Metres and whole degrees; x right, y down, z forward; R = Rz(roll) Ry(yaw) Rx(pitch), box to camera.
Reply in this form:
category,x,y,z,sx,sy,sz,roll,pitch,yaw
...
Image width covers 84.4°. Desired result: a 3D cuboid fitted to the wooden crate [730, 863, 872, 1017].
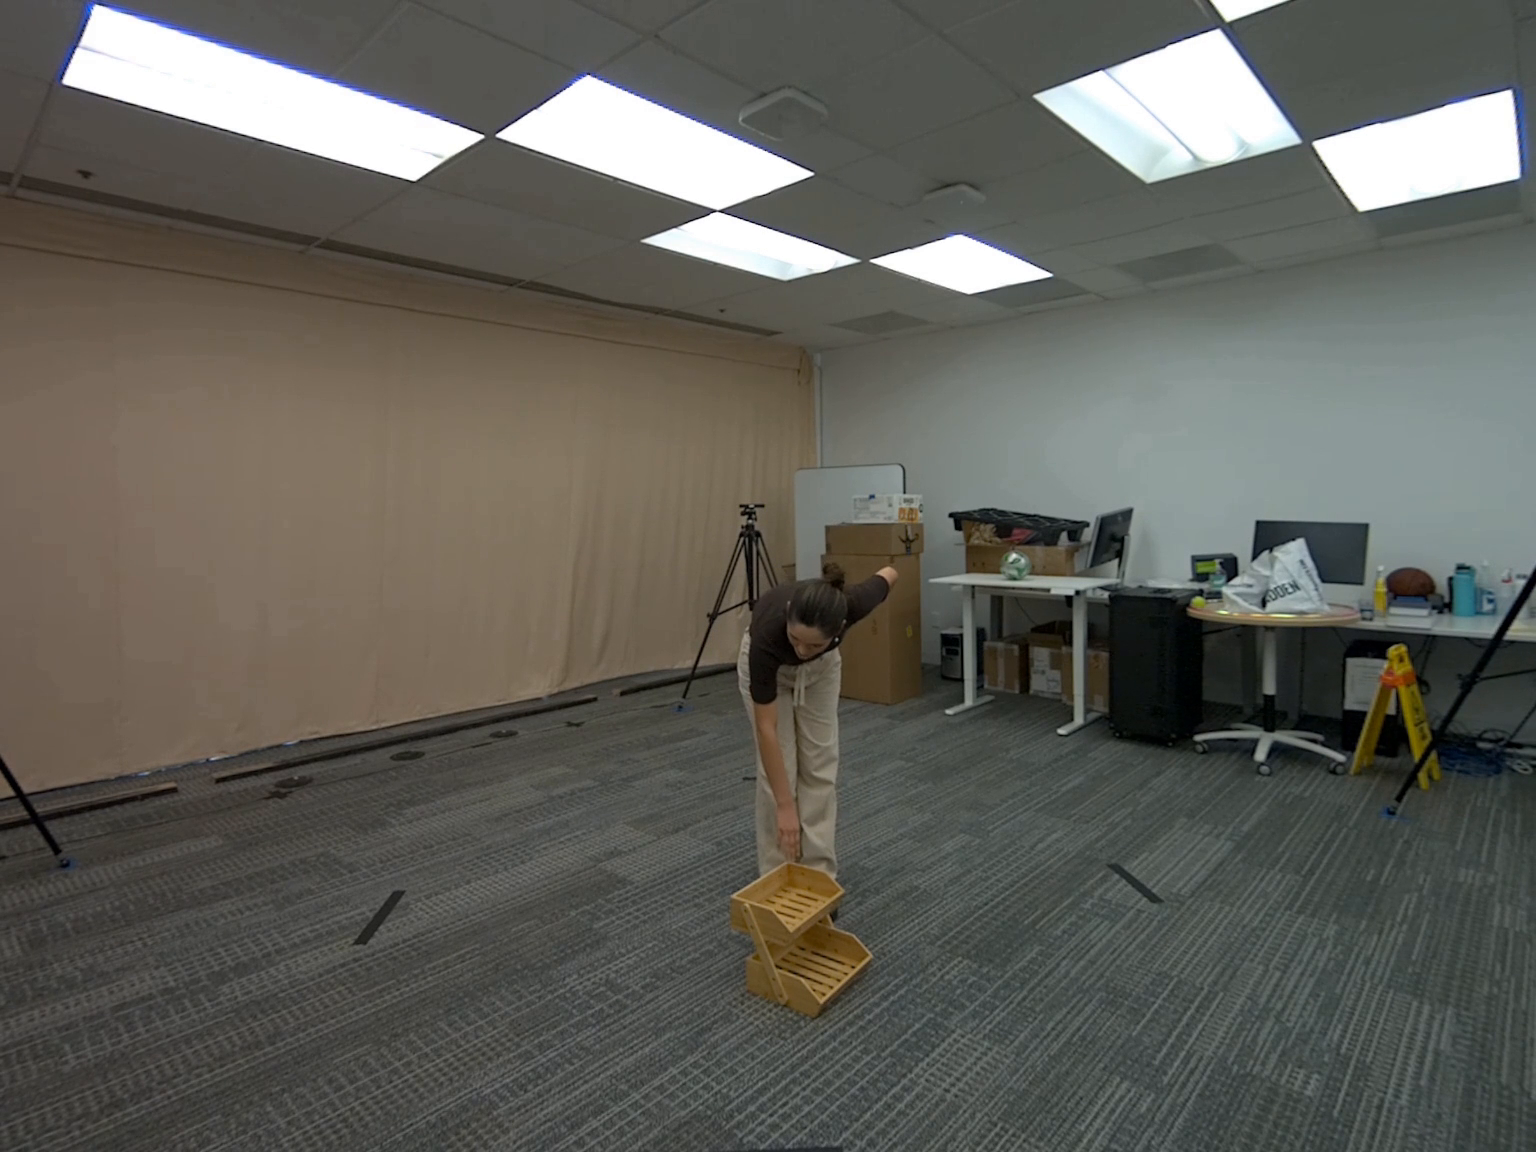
category,x,y,z,sx,sy,sz,roll,pitch,yaw
wooden crate,0.104,1.041,2.471,0.311,0.273,0.315,1,4,36
